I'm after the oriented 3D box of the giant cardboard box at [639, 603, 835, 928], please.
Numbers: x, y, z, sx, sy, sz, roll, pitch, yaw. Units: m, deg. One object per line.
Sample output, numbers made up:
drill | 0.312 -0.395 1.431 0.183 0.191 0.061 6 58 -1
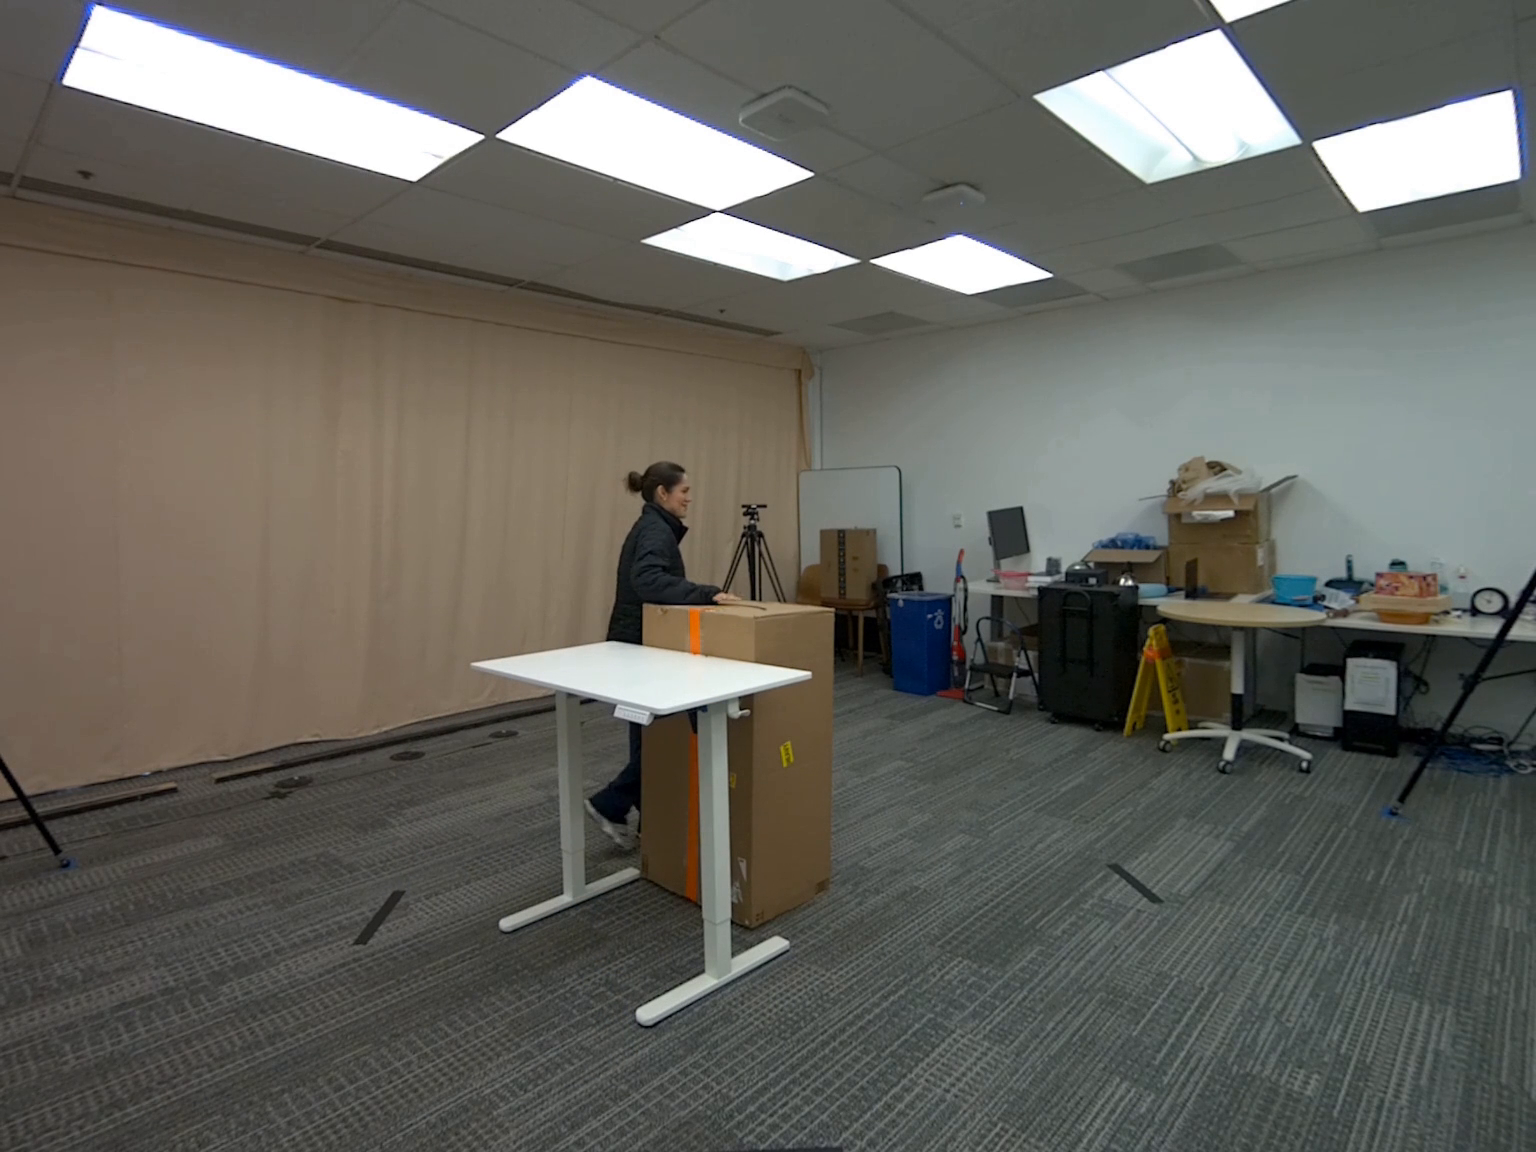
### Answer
giant cardboard box | -0.104 0.618 3.074 0.603 1.025 0.433 3 3 45
